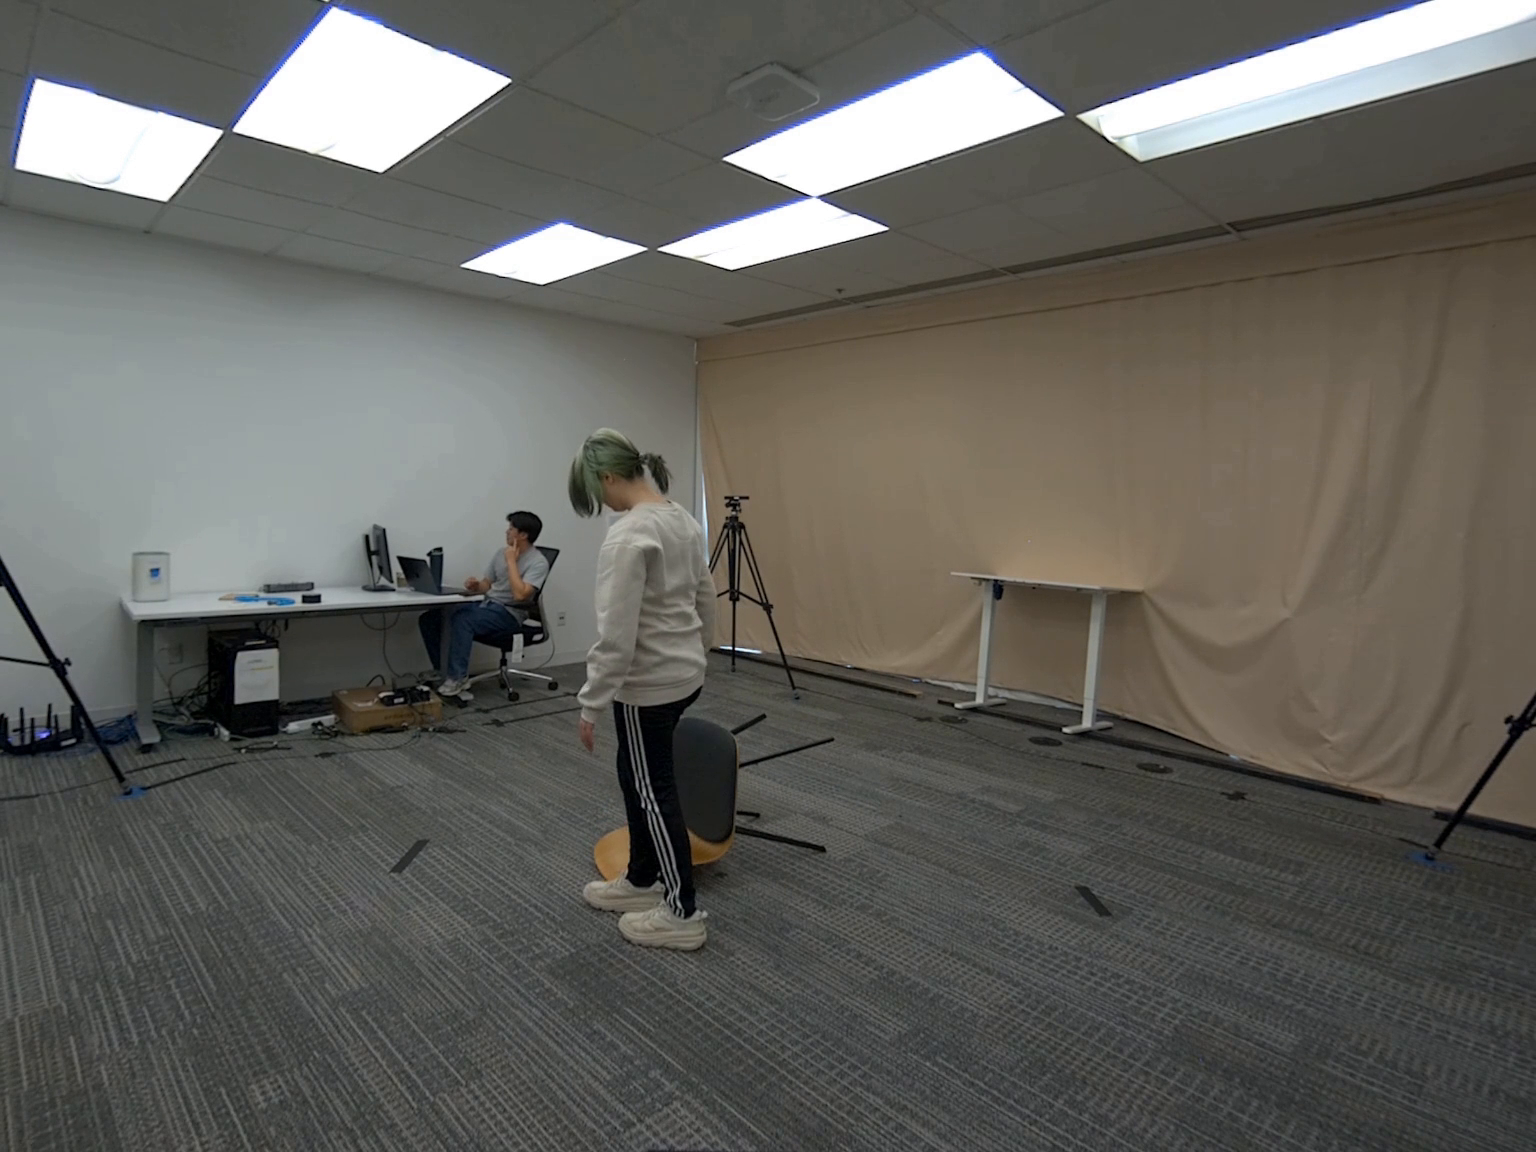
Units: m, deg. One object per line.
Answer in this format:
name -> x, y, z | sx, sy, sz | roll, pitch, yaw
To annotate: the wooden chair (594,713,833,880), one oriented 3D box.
wooden chair -> -0.233, 0.830, 3.262 | 0.859, 0.521, 0.490 | -4, 6, -36
